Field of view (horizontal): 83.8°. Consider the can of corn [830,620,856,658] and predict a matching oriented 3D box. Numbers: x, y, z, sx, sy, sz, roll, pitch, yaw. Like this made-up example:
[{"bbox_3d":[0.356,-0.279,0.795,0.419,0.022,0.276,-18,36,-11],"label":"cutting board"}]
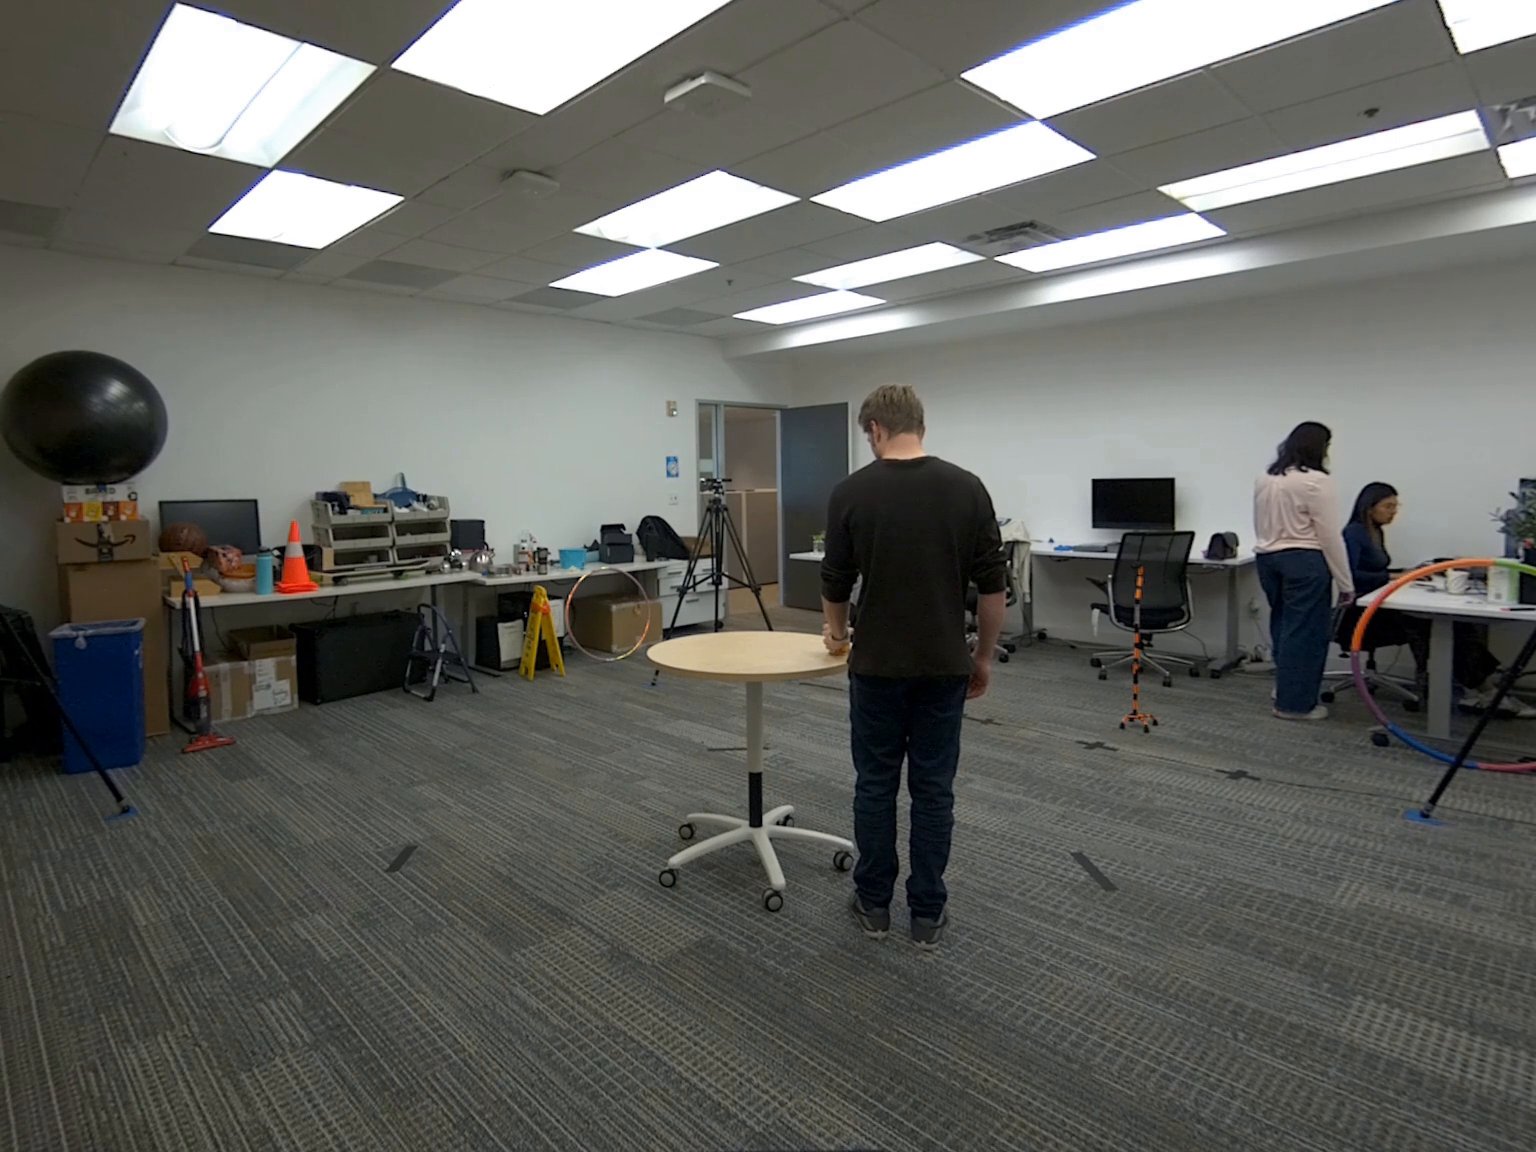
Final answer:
[{"bbox_3d":[0.257,0.215,2.966,0.074,0.110,0.075,-1,8,-2],"label":"can of corn"}]
